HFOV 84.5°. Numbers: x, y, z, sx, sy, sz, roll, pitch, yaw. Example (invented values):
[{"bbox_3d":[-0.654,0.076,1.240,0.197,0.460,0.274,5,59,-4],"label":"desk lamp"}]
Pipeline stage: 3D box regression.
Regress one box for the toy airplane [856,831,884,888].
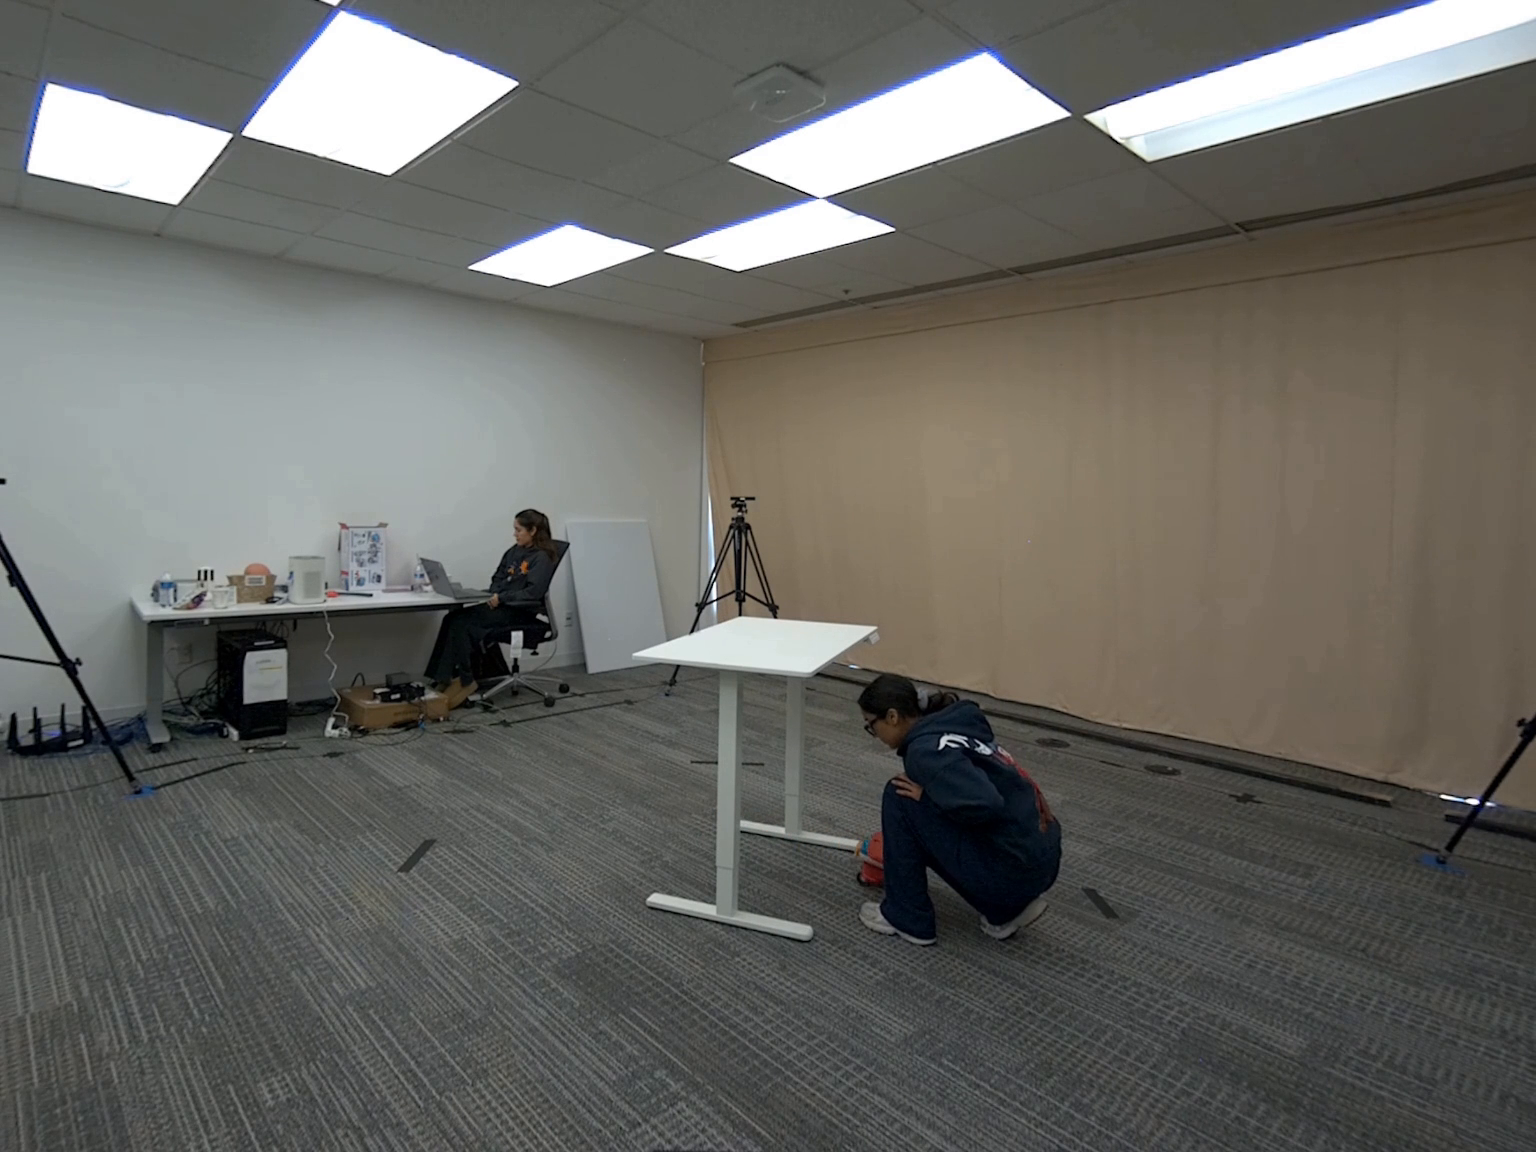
[{"bbox_3d":[0.442,1.048,3.106,0.256,0.156,0.255,1,8,-13],"label":"toy airplane"}]
